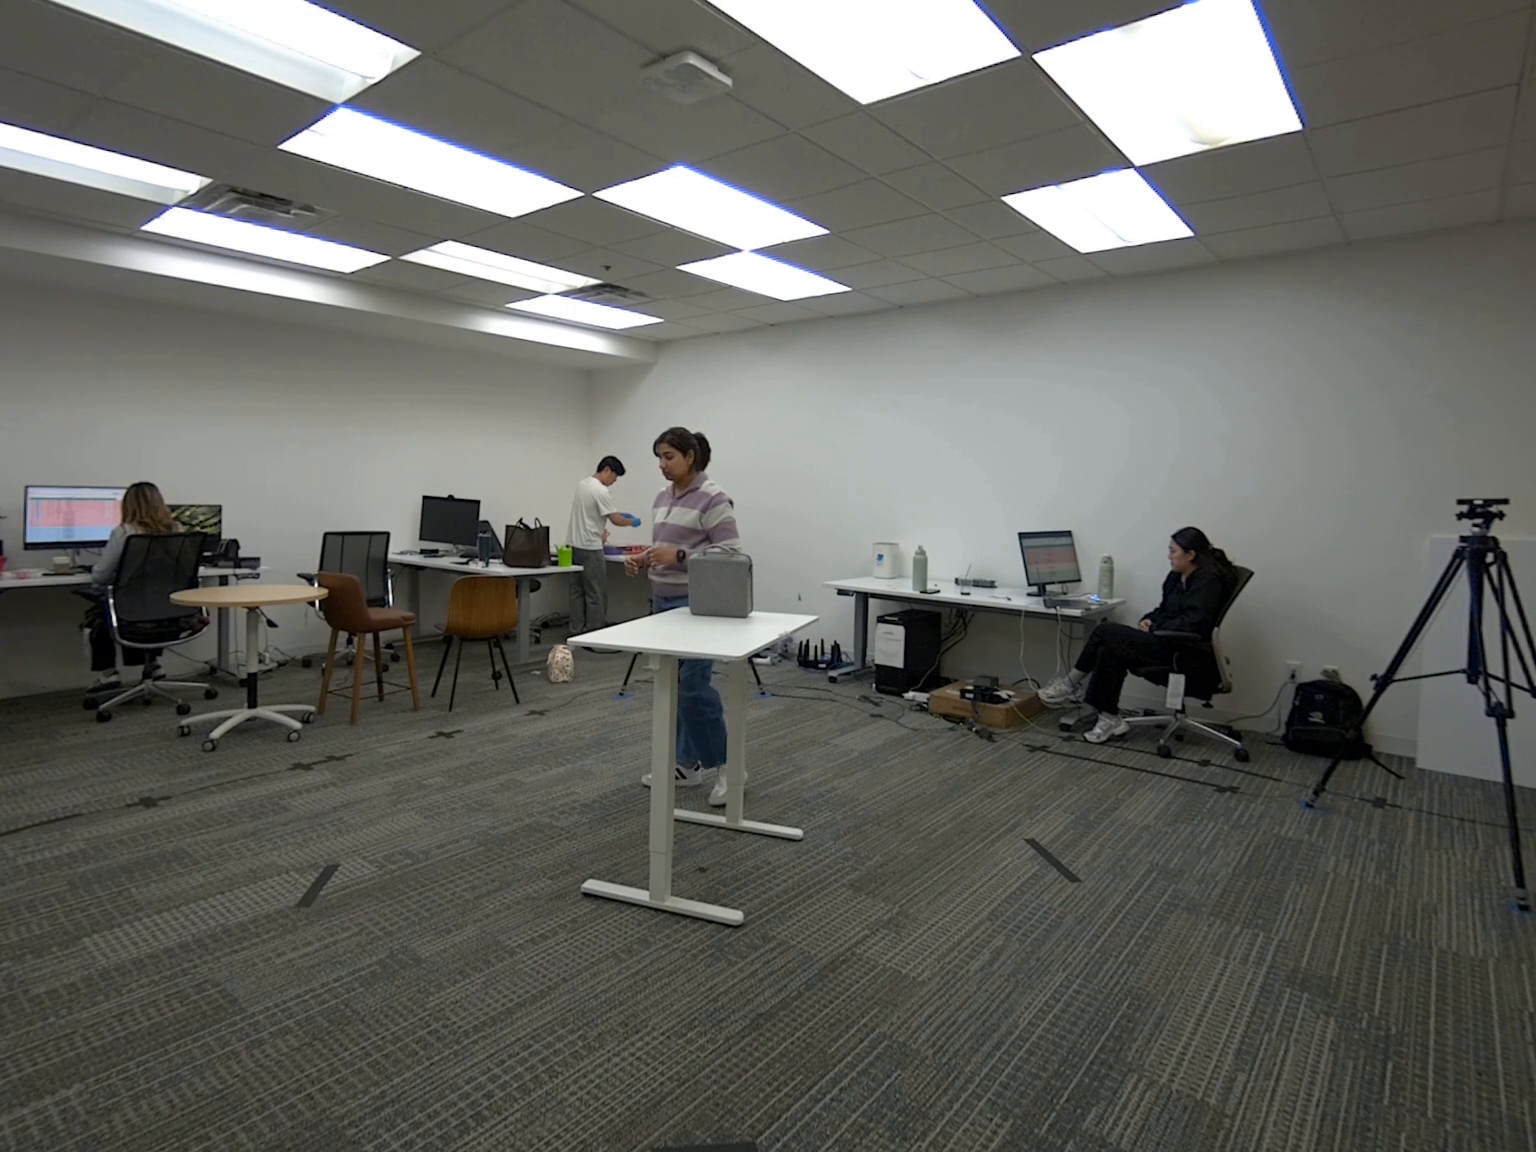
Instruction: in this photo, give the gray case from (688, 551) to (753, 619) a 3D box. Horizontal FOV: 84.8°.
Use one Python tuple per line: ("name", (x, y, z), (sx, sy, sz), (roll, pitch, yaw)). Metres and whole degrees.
("gray case", (-0.200, 0.030, 3.413), (0.261, 0.257, 0.104), (2, 13, 14))
